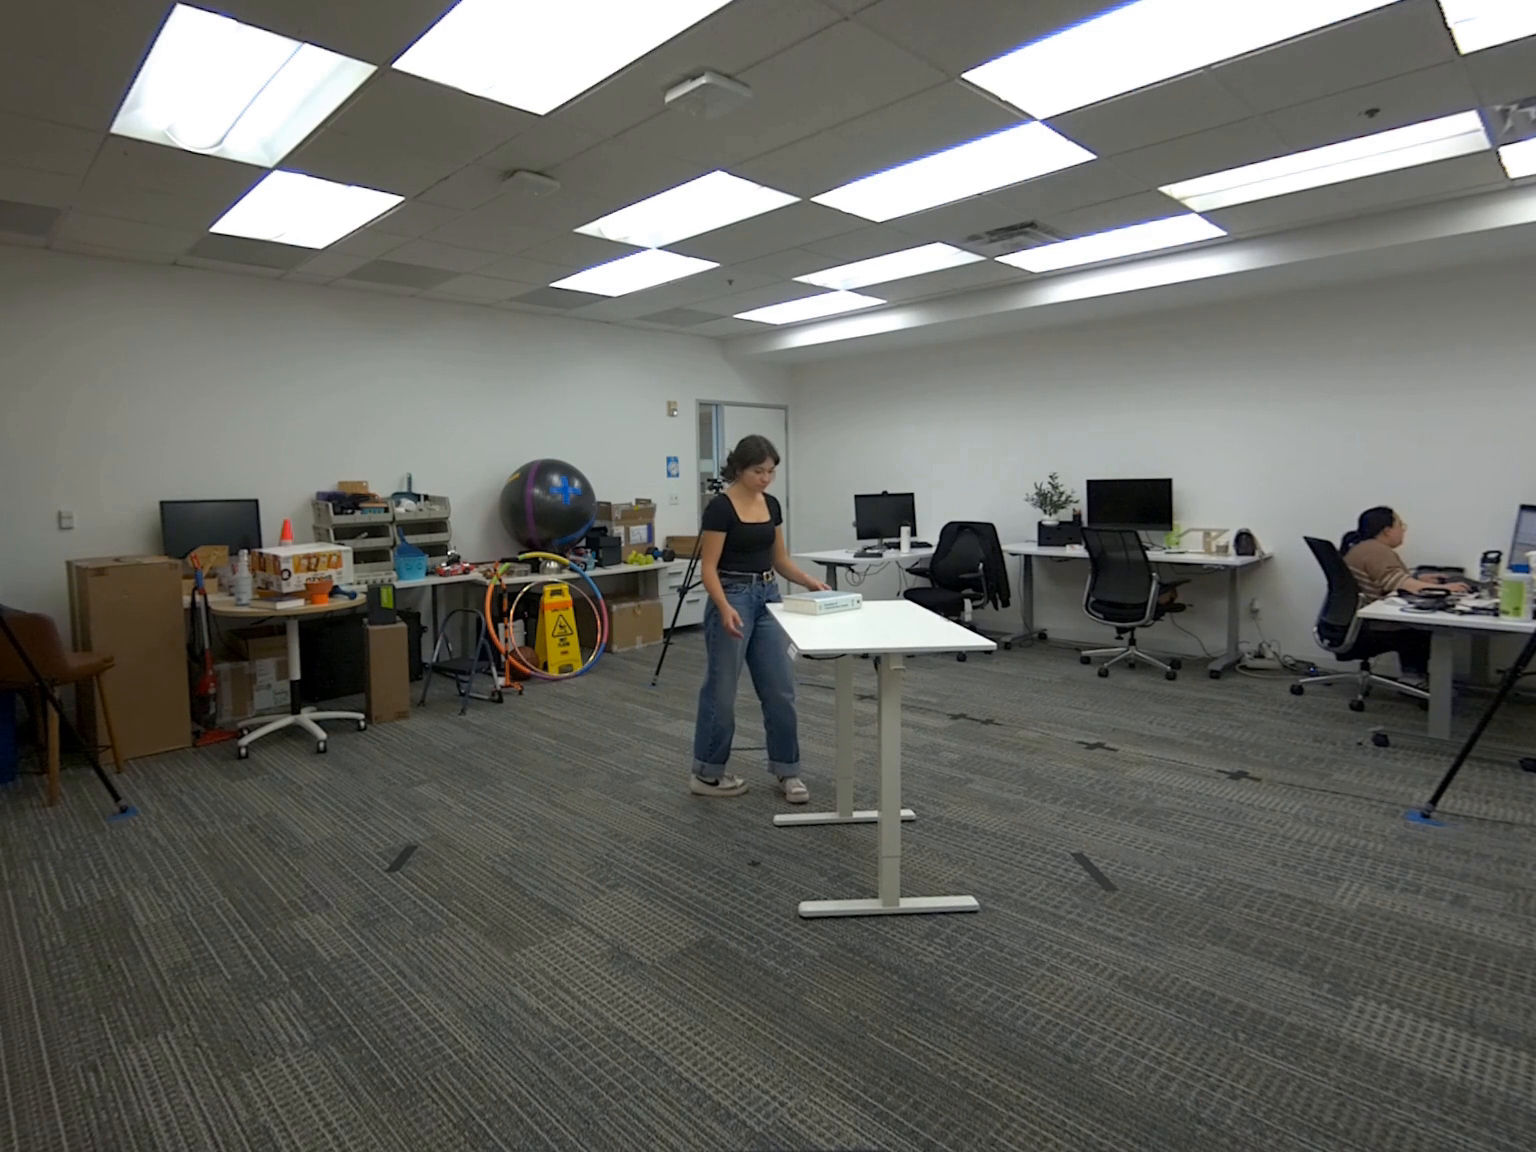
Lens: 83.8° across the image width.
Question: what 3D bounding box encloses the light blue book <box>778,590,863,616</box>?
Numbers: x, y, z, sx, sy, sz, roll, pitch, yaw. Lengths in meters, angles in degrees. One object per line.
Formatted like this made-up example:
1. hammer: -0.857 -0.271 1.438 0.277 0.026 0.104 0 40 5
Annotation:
1. light blue book: 0.212 0.105 3.349 0.254 0.059 0.197 -6 7 -42
